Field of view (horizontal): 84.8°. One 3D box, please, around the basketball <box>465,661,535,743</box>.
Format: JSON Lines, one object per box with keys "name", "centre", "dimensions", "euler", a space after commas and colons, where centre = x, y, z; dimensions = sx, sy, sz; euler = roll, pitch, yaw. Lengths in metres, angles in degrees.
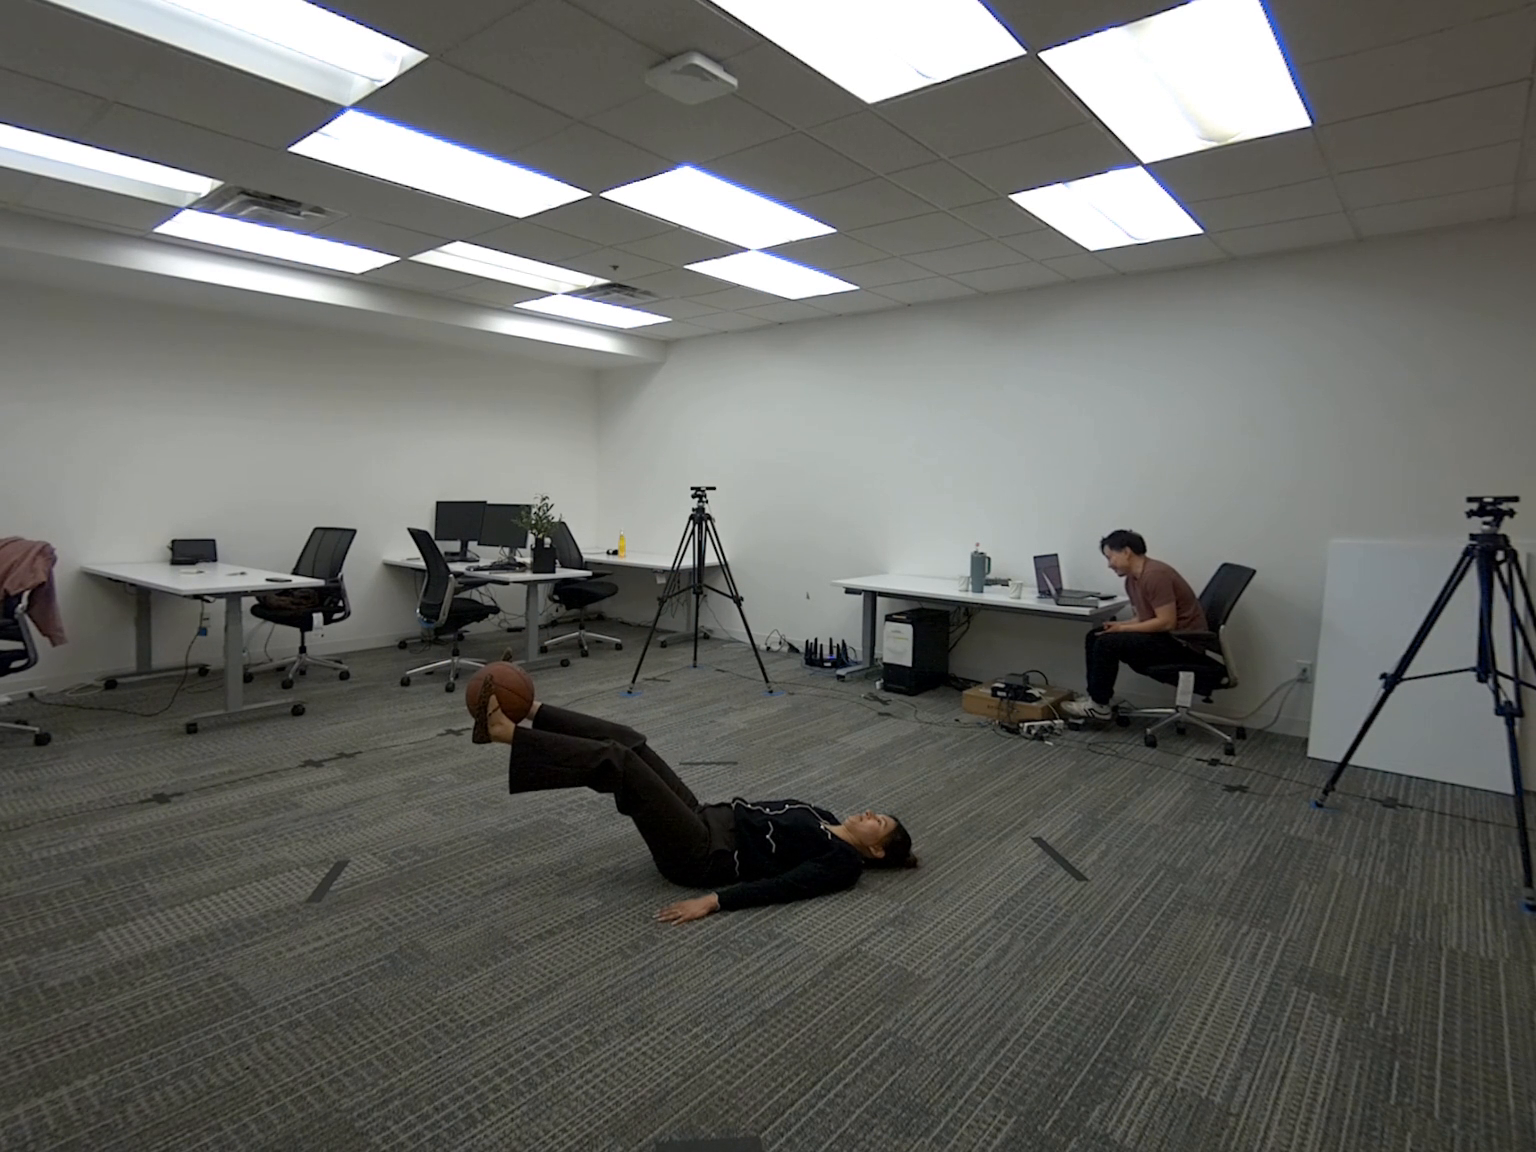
{"name": "basketball", "centre": [-0.953, 0.412, 2.998], "dimensions": [0.236, 0.234, 0.238], "euler": [0, 7, -2]}
